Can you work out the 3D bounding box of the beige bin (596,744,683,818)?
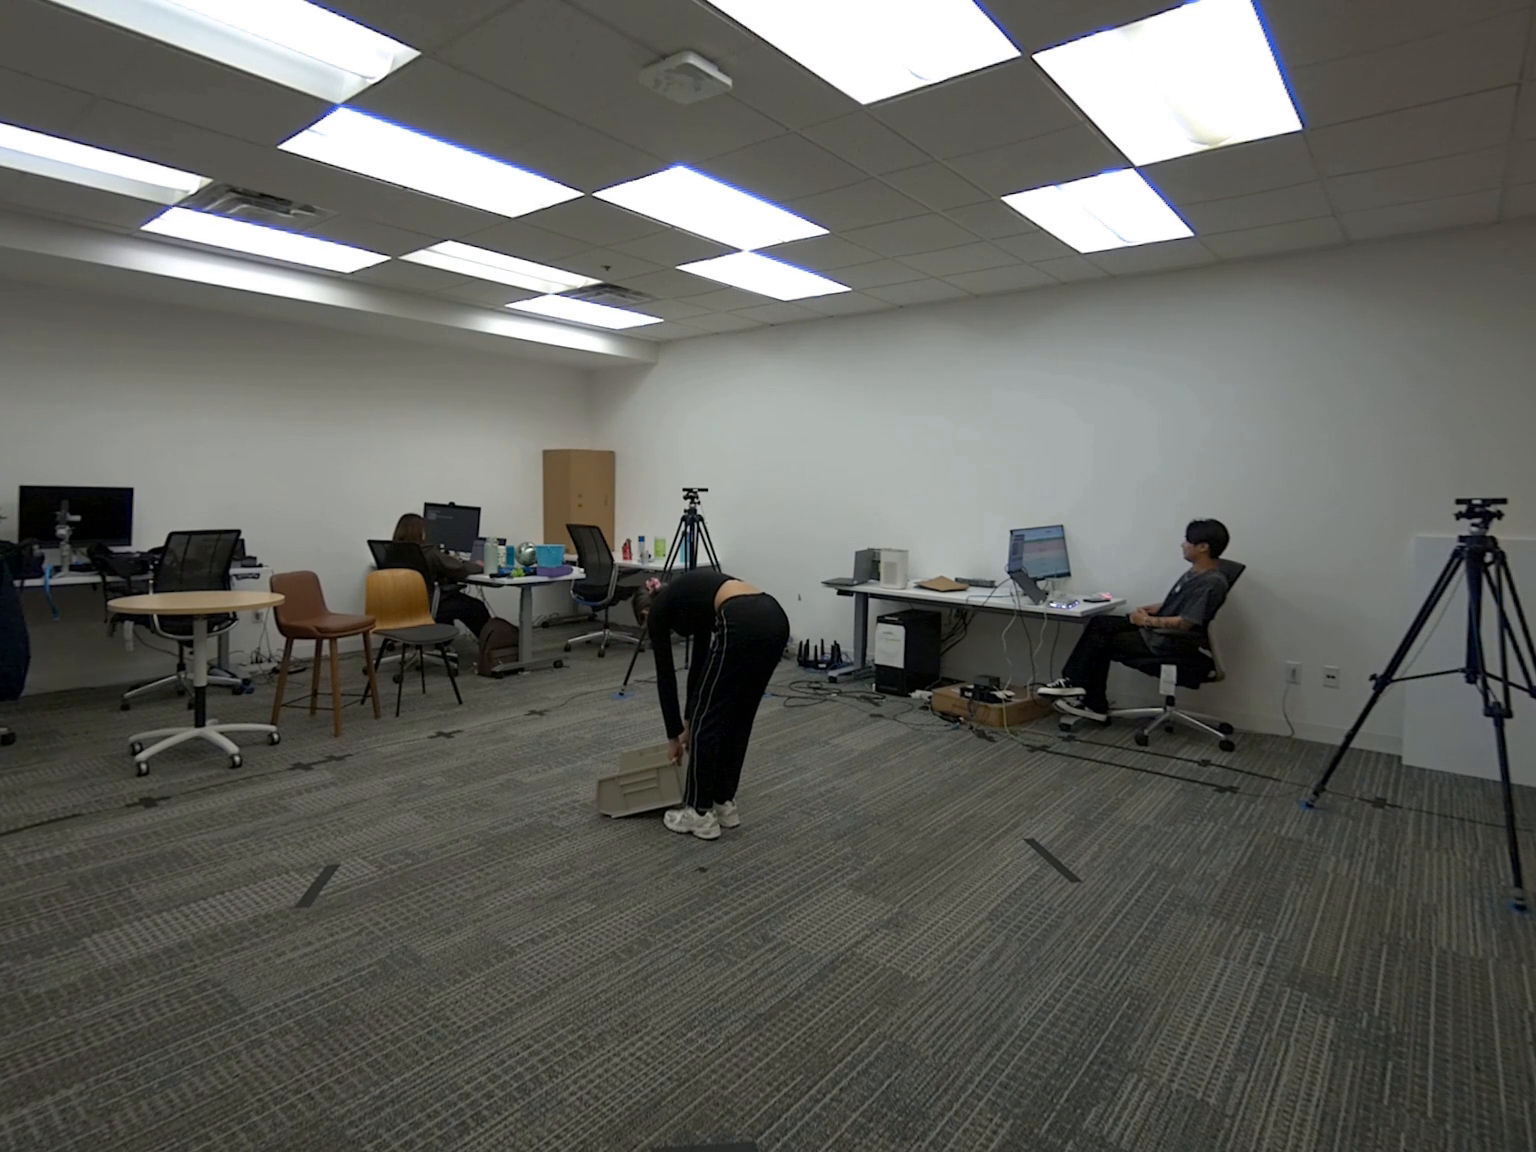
[{"bbox_3d":[-0.556,0.877,3.763,0.379,0.189,0.421,-10,2,3],"label":"beige bin"}]
